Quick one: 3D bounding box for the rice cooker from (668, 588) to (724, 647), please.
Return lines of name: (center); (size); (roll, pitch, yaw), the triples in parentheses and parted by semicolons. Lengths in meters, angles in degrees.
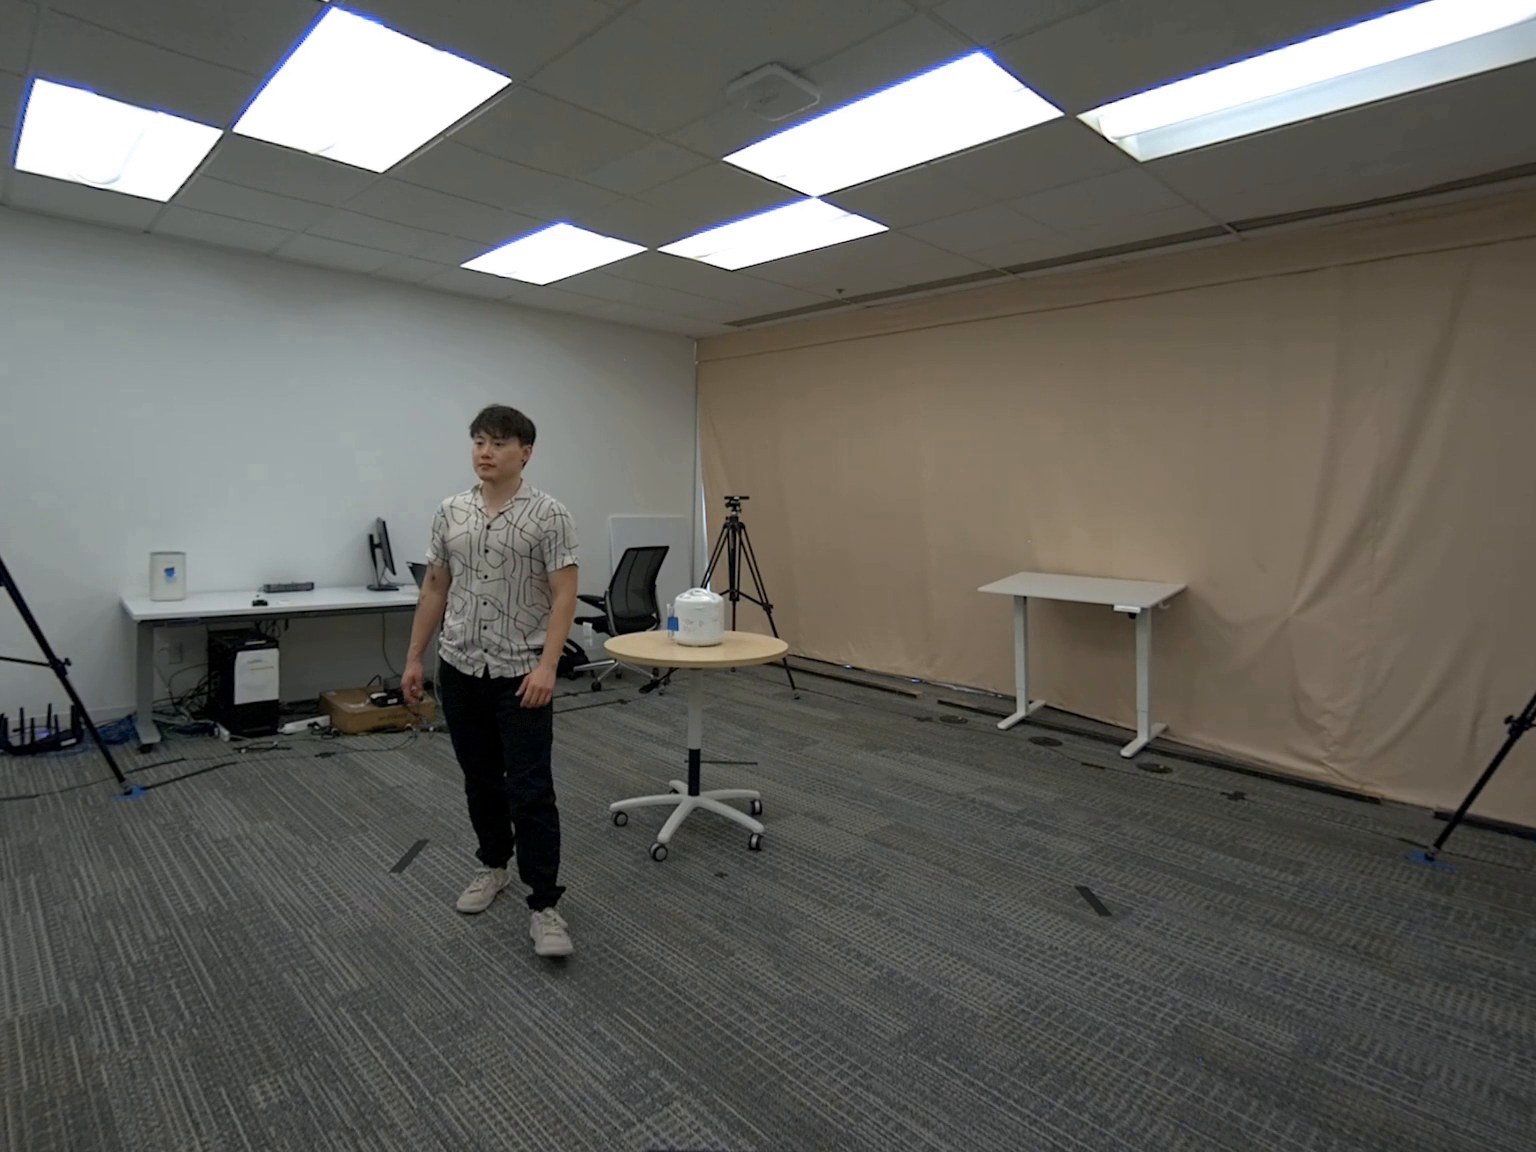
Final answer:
rice cooker: (-0.293, 0.166, 3.512); (0.213, 0.232, 0.226); (-5, 7, -42)
